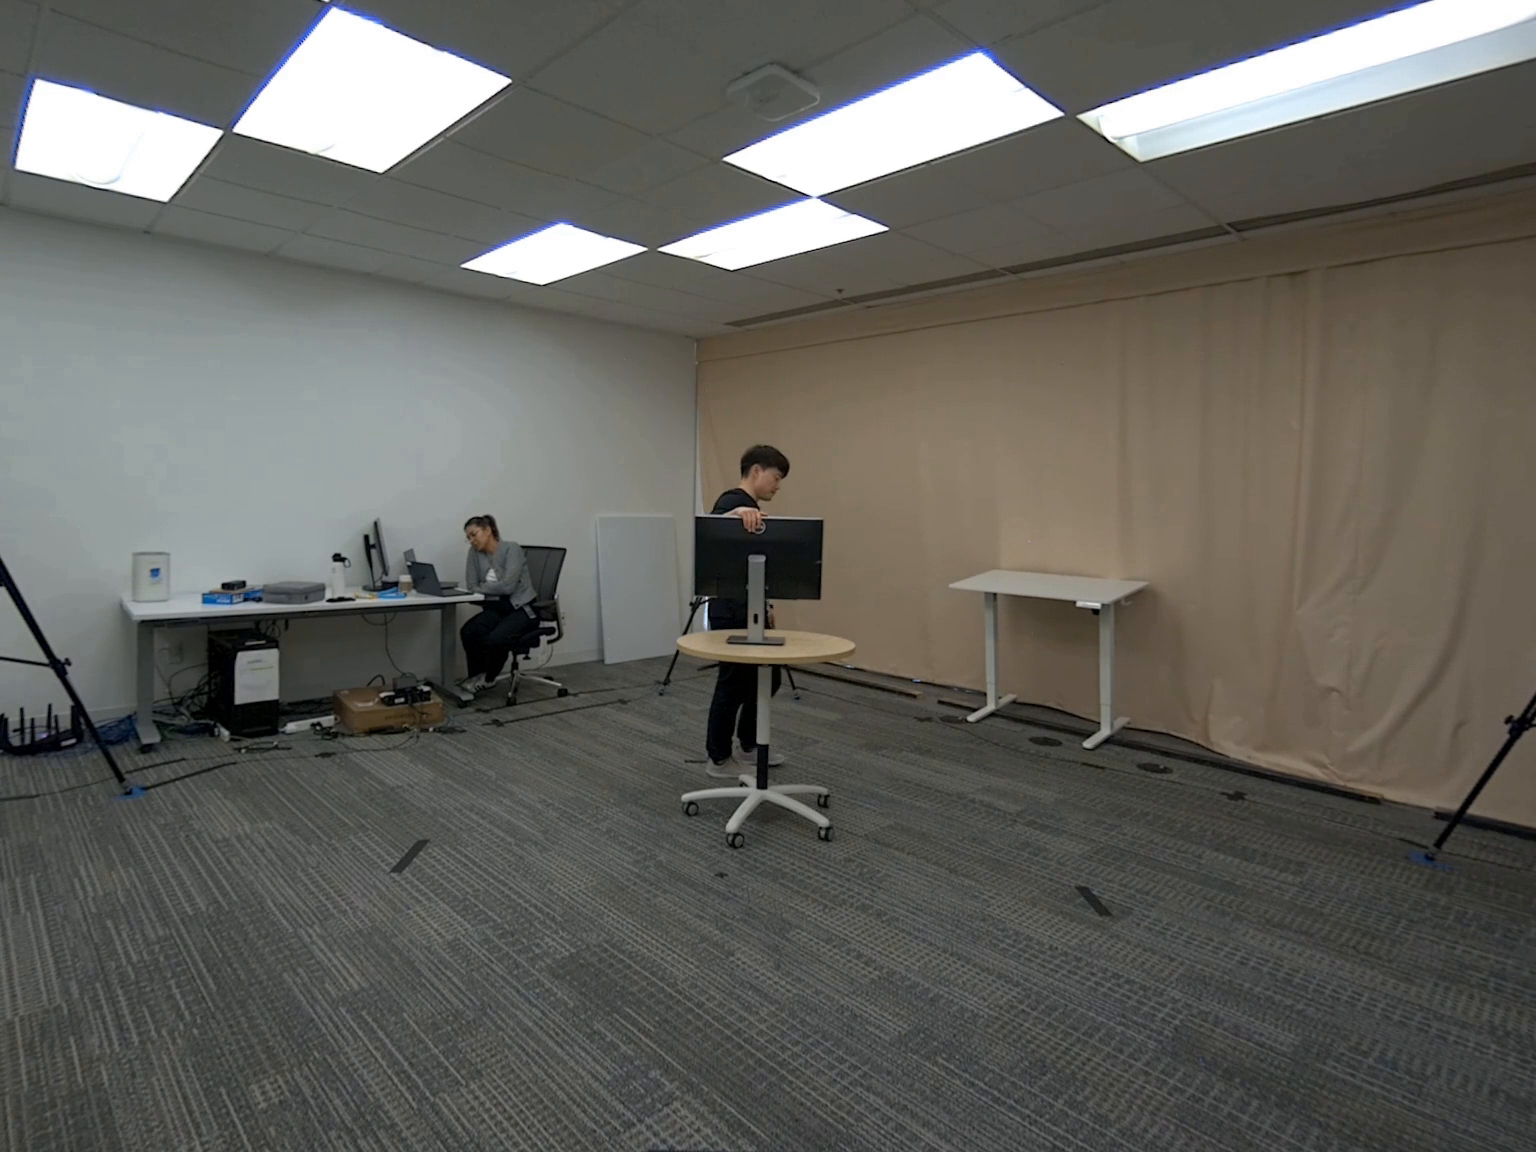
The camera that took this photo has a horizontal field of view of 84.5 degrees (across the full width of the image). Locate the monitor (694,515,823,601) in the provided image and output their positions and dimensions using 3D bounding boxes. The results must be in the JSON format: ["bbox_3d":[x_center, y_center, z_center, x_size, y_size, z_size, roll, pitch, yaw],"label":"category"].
[{"bbox_3d":[-0.054,0.020,3.607,0.540,0.522,0.187,2,1,2],"label":"monitor"}]
